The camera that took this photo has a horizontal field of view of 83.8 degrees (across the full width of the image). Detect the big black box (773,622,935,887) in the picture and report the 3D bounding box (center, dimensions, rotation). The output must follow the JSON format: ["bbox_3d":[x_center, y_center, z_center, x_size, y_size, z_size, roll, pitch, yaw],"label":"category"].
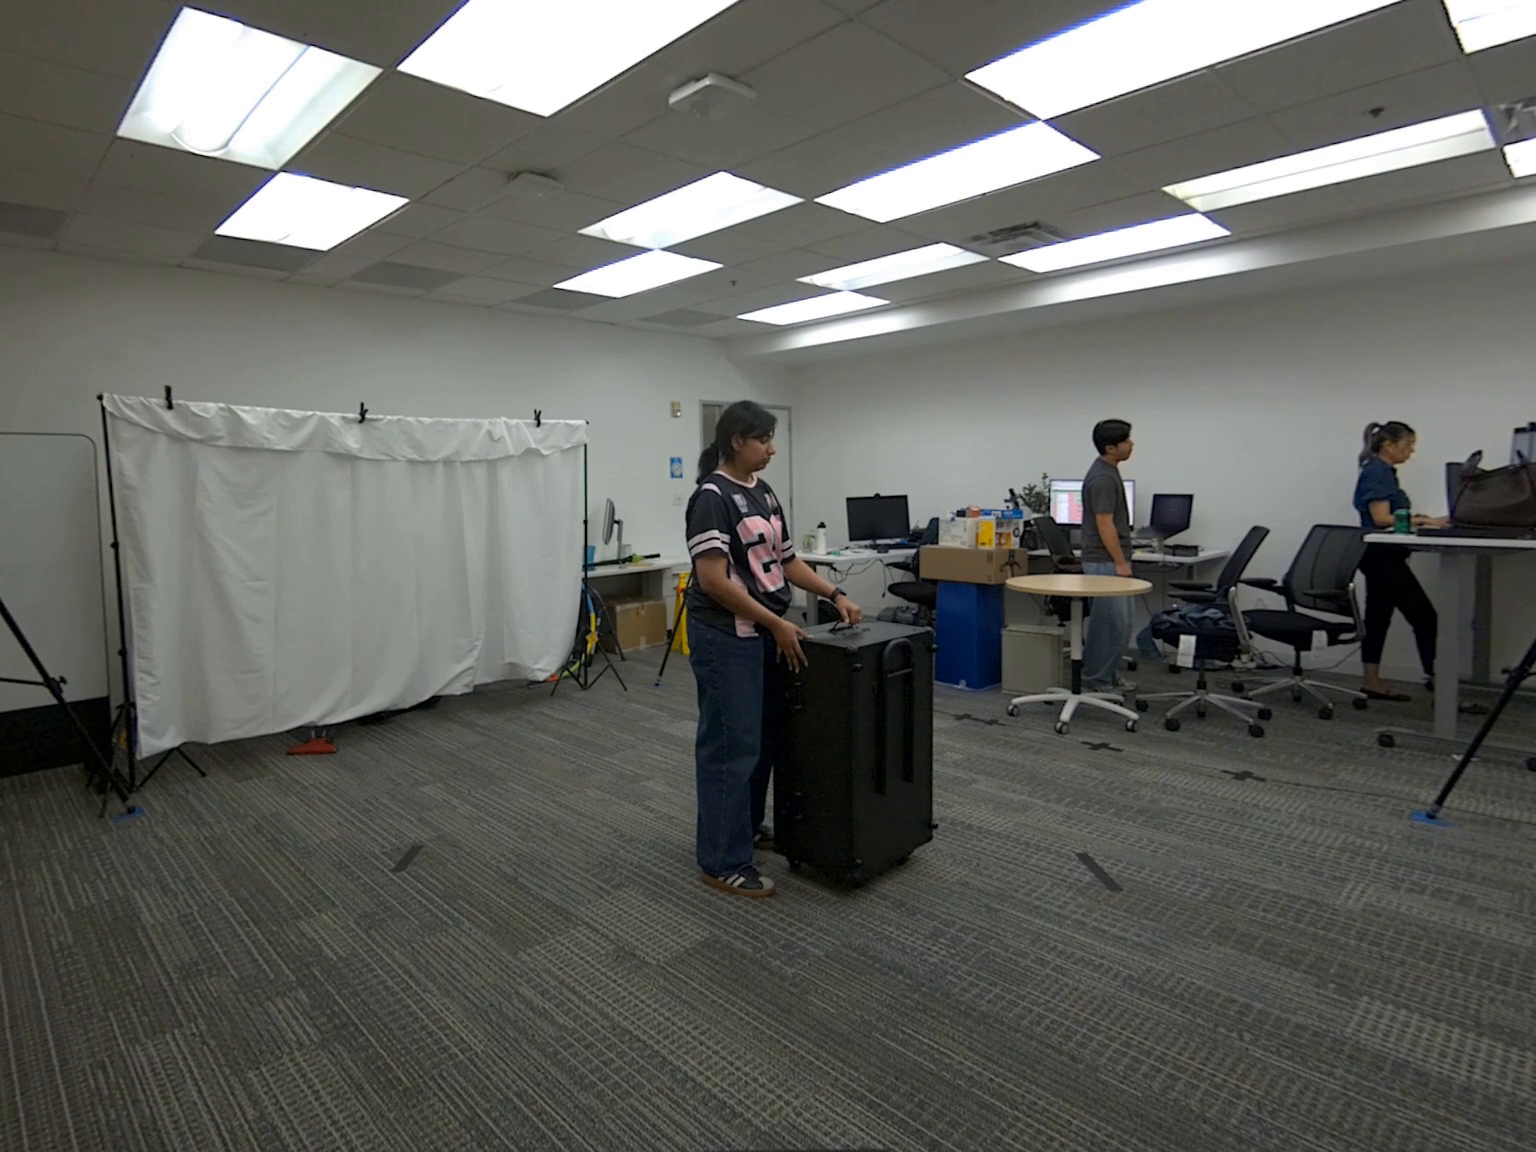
[{"bbox_3d":[0.320,0.623,3.061,0.397,0.865,0.509,4,6,43],"label":"big black box"}]
